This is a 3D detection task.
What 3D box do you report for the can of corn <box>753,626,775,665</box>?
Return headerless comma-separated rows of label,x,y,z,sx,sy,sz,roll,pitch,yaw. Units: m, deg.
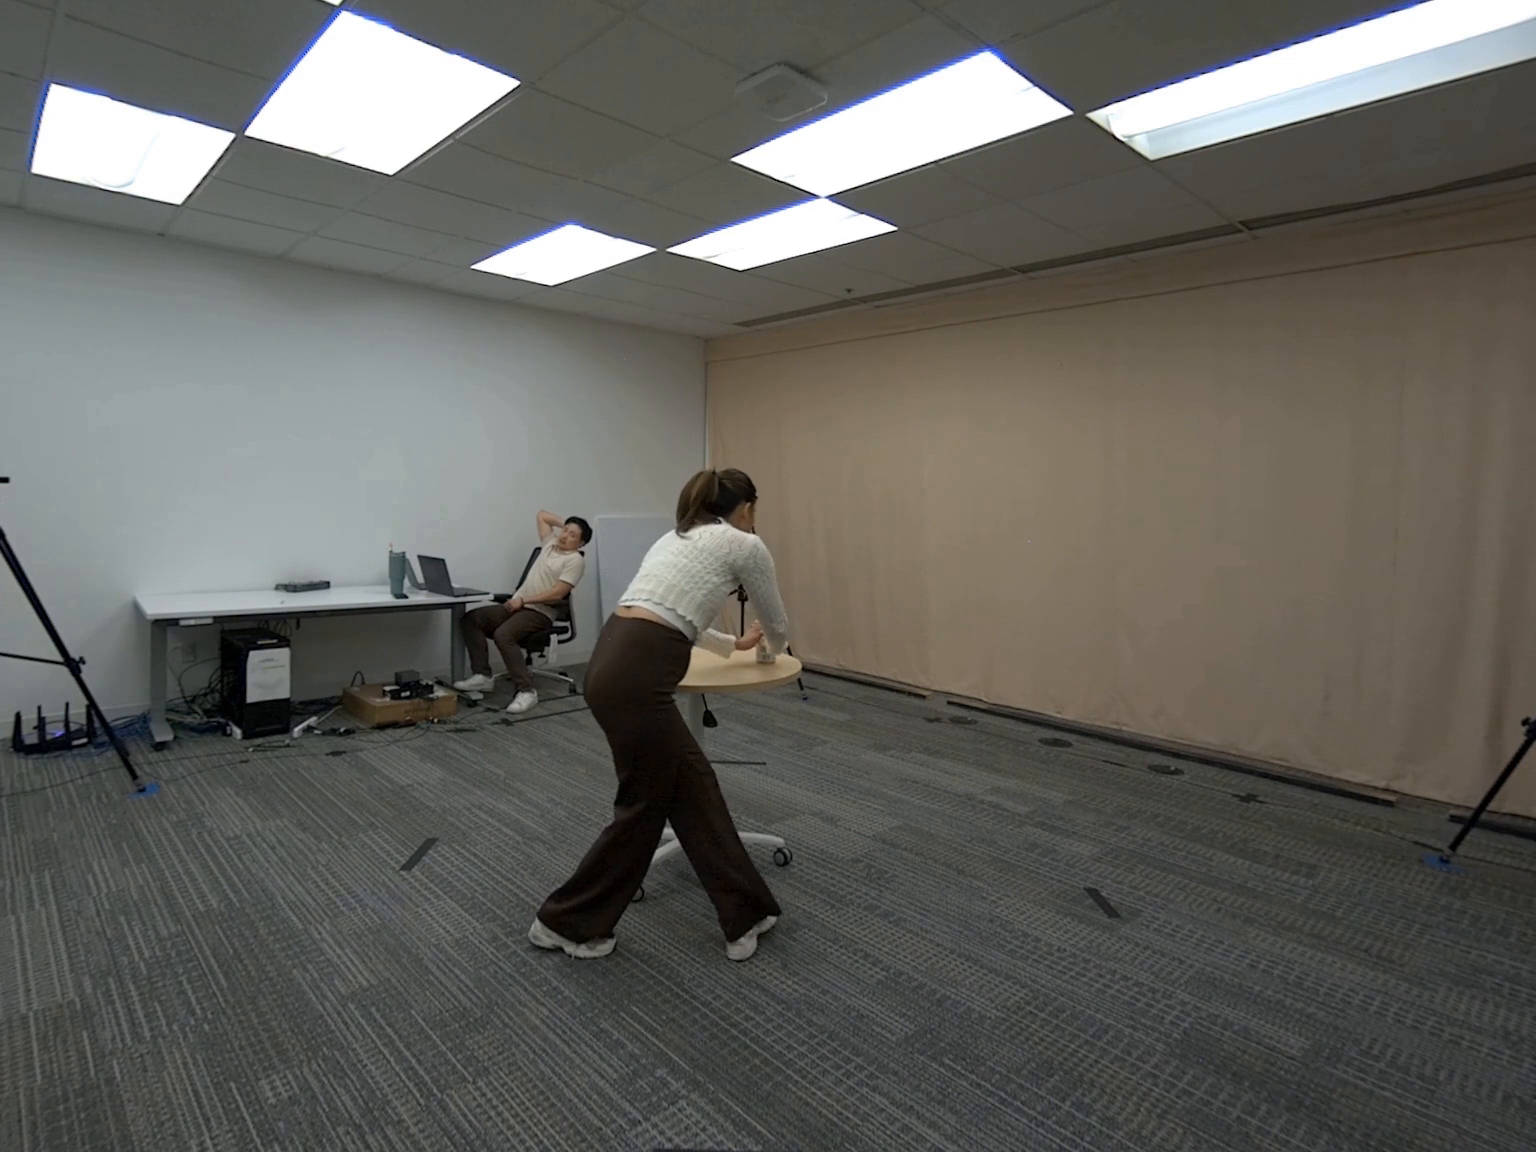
can of corn,-0.019,0.266,3.102,0.074,0.111,0.074,0,5,-1
